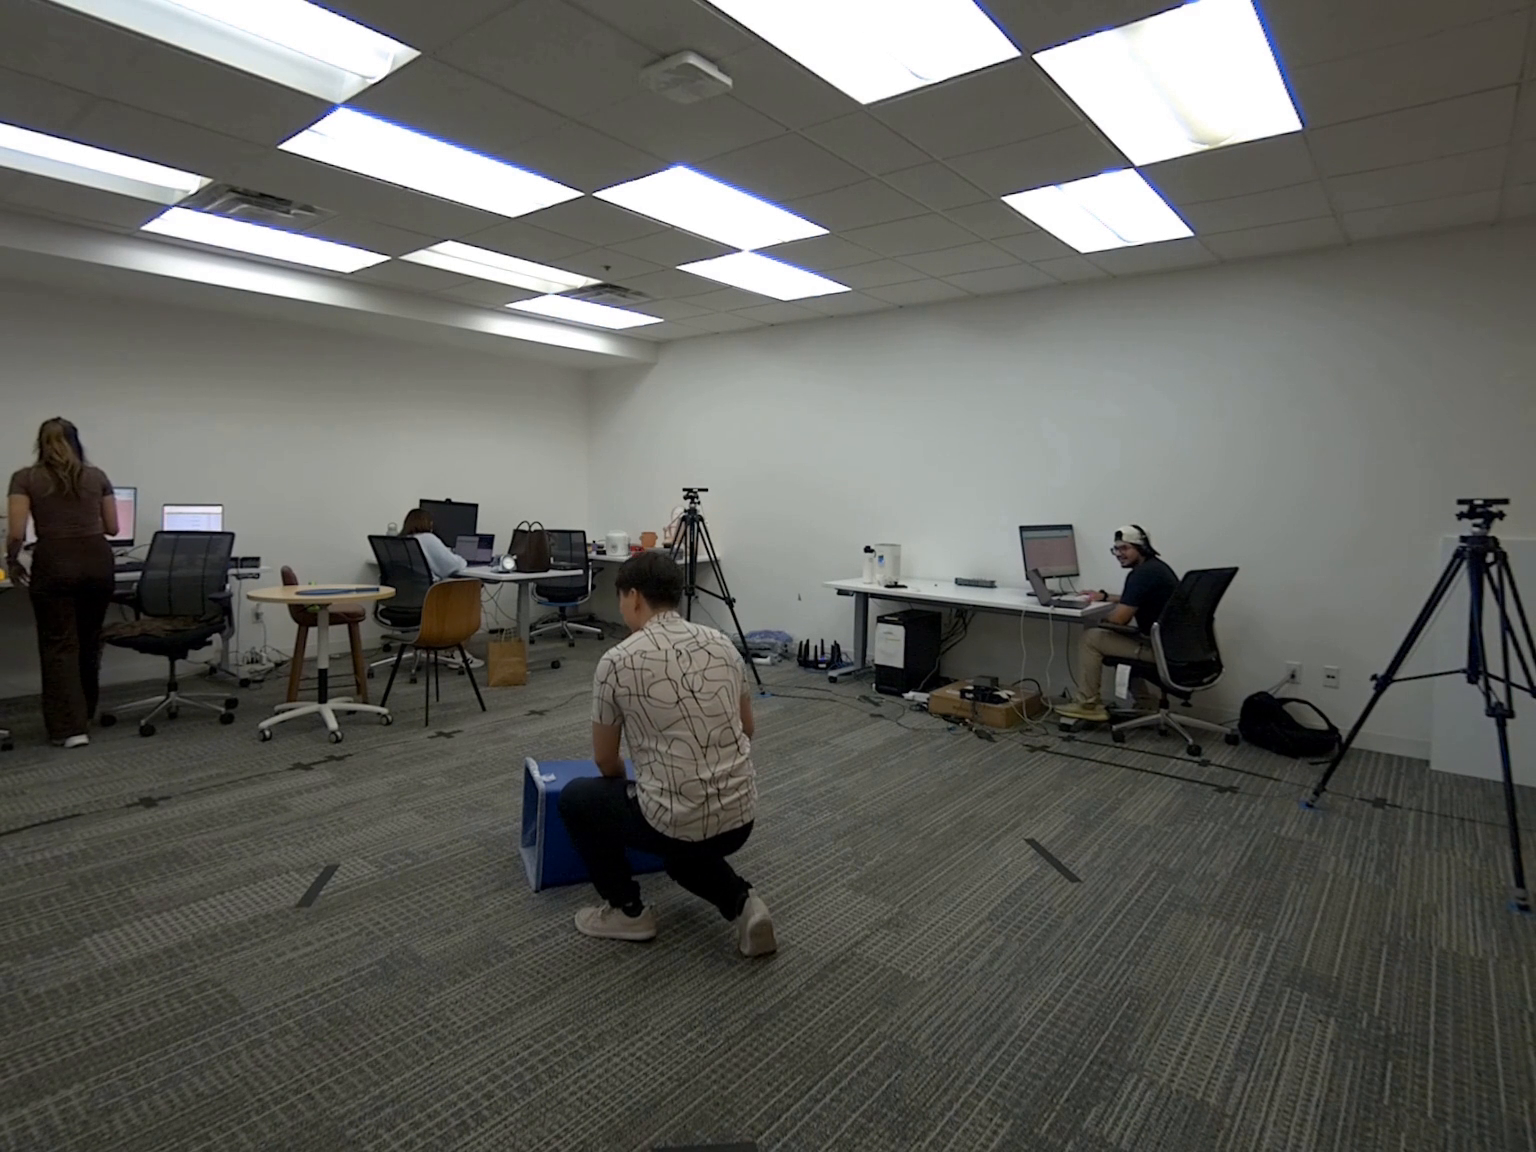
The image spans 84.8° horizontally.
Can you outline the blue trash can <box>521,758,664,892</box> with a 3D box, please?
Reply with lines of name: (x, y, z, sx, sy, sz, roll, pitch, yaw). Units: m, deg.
blue trash can: (-0.546, 0.887, 3.173, 0.698, 0.373, 0.388, 3, 4, -22)
